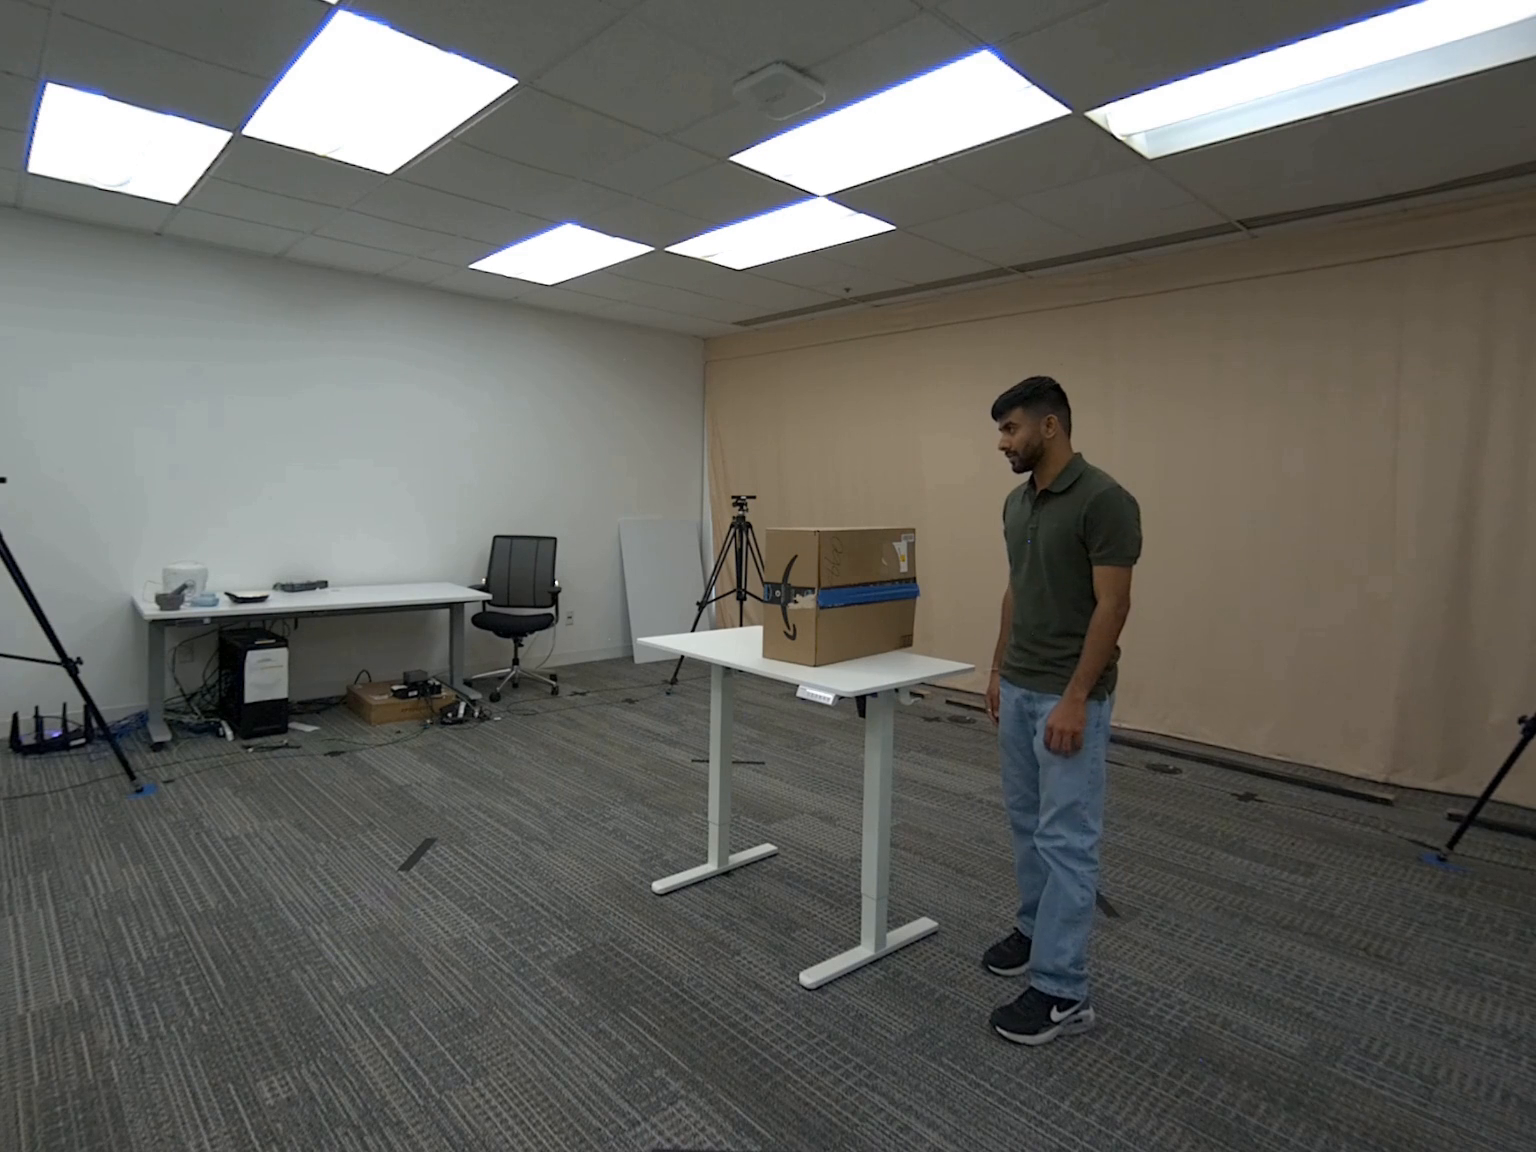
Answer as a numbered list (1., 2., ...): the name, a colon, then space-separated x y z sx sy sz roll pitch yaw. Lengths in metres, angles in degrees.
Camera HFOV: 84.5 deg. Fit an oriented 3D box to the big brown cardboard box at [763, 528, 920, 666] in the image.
1. big brown cardboard box: 0.252 0.052 2.812 0.239 0.417 0.576 3 5 43
